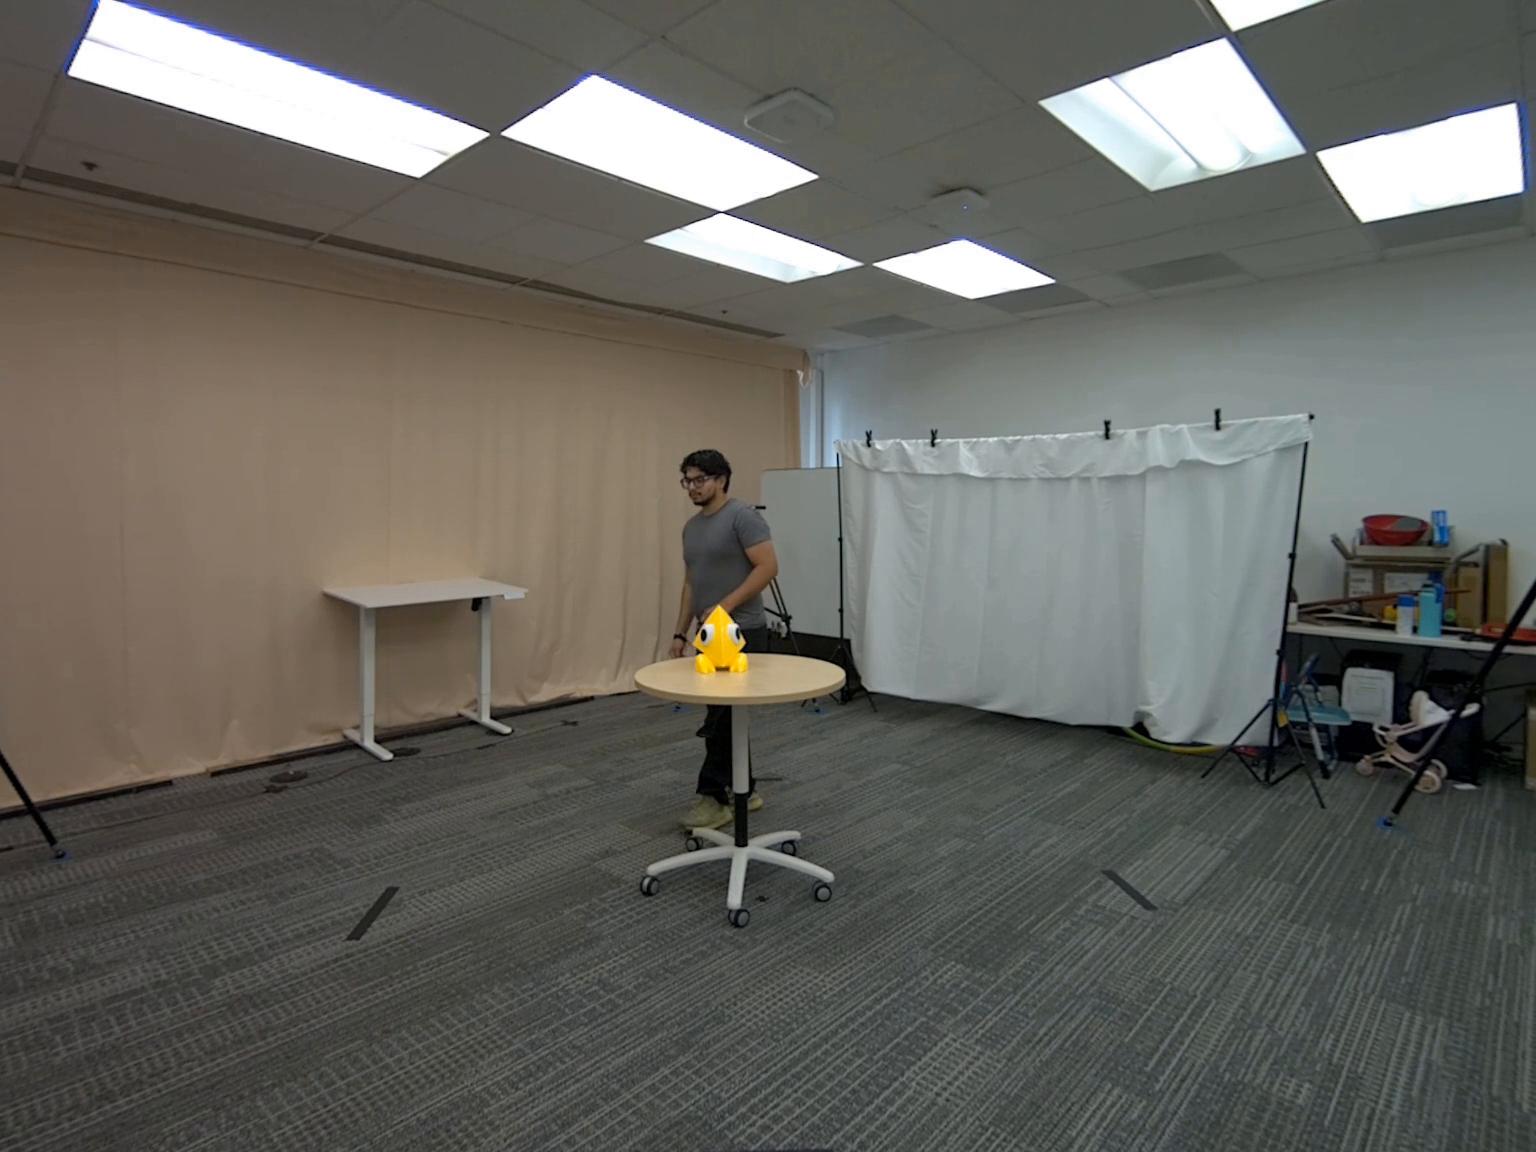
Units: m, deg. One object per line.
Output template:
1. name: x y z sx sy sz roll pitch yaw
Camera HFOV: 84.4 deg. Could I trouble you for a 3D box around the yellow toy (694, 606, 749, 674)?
1. yellow toy: -0.176 0.231 3.159 0.204 0.230 0.194 0 4 -6
